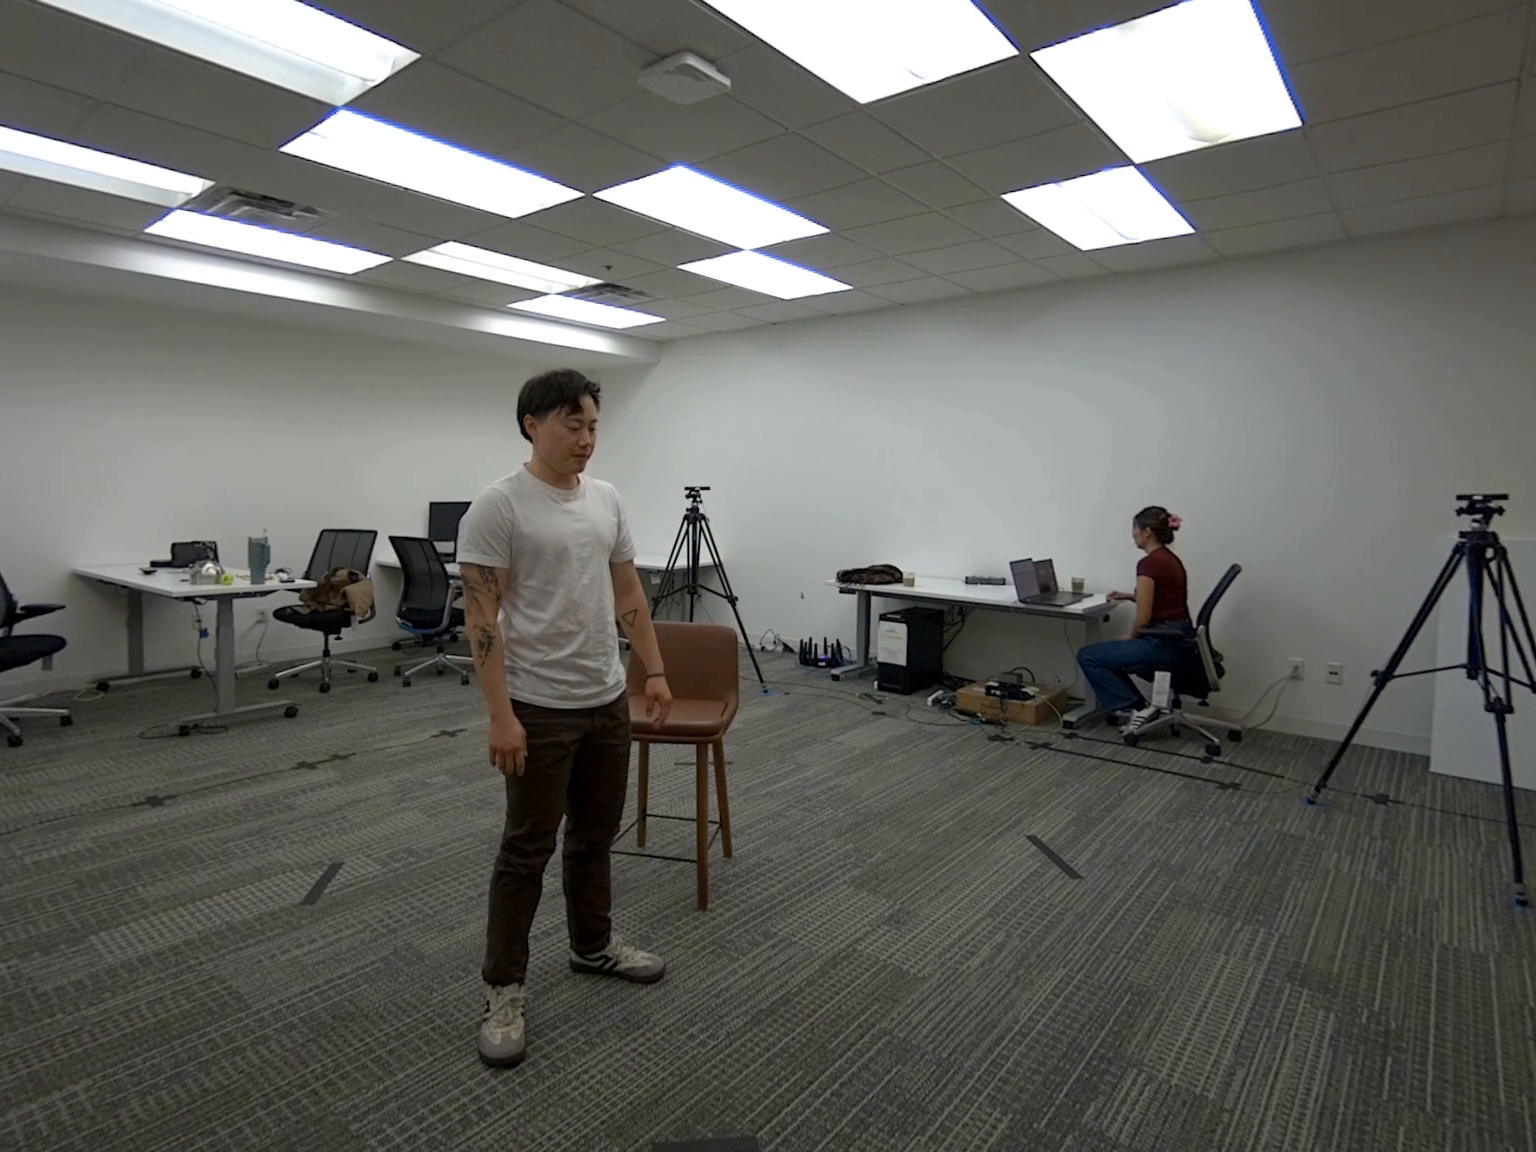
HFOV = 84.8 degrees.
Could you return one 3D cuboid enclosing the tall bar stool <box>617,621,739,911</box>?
[{"bbox_3d":[-0.362,0.636,3.033,0.464,0.889,0.461,2,2,14],"label":"tall bar stool"}]
